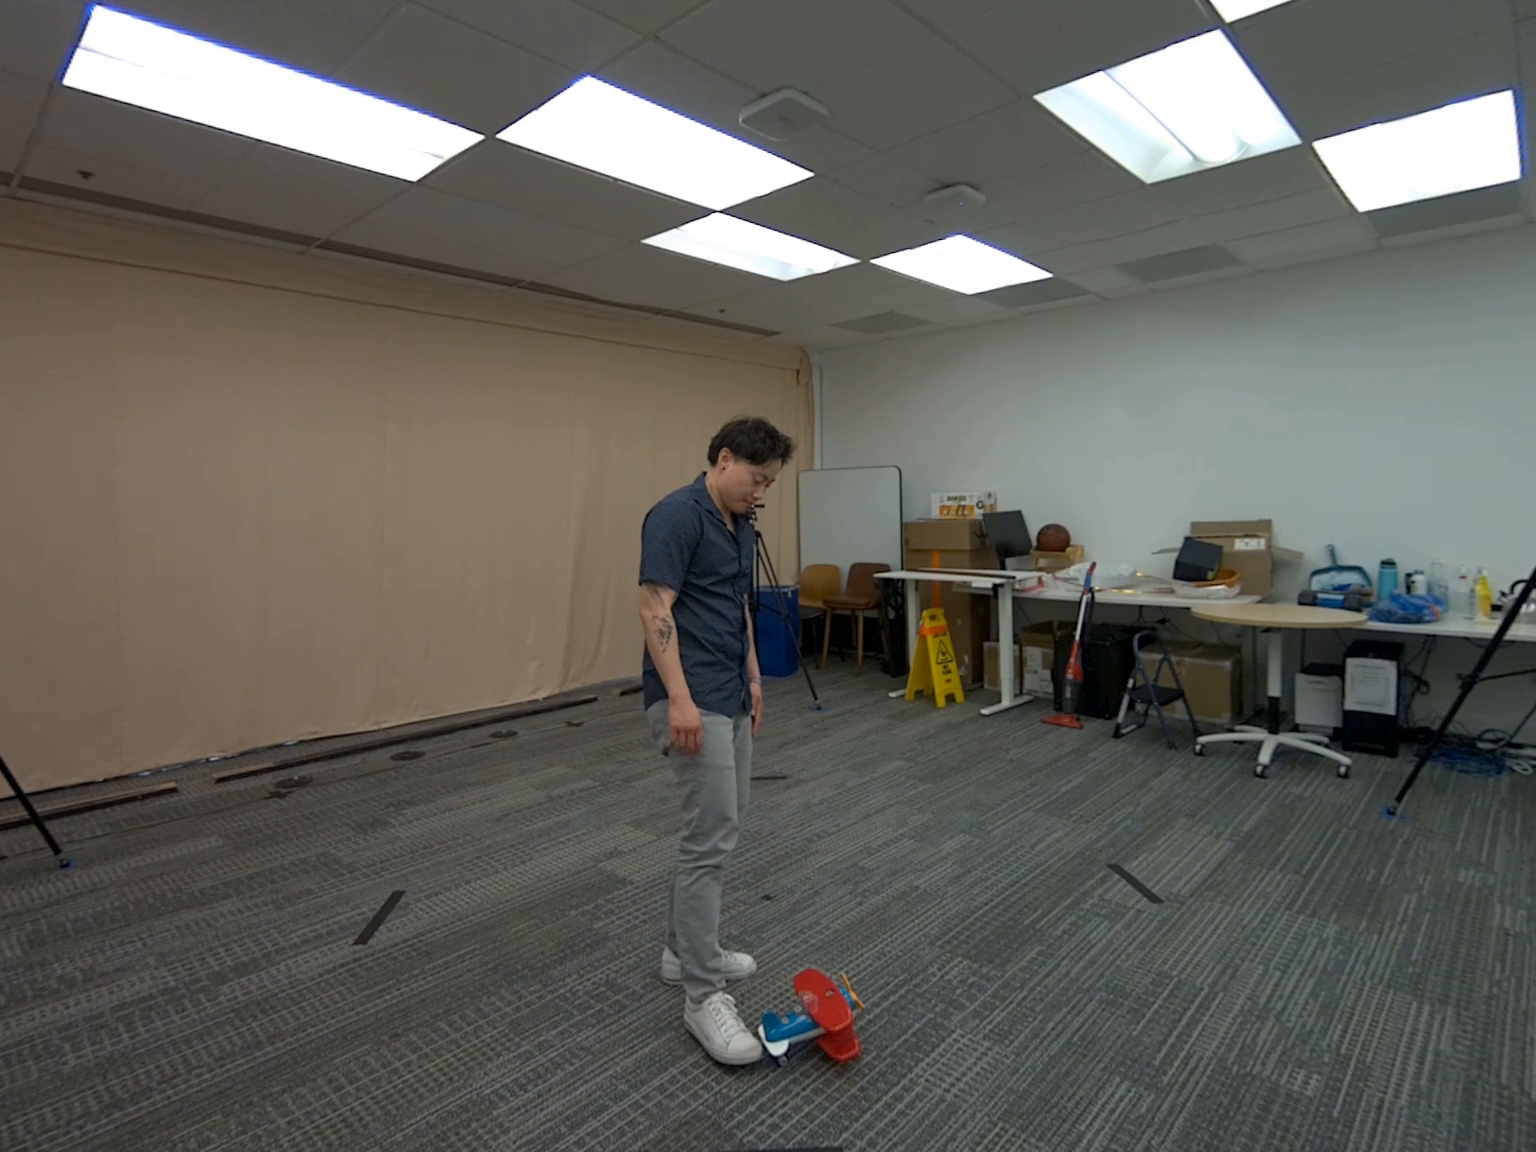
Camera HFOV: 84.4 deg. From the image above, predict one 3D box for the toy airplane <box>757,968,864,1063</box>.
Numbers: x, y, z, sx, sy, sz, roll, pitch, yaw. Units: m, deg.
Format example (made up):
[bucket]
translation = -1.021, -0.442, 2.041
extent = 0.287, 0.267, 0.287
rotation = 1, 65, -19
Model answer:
[toy airplane]
translation = 0.121, 1.143, 2.106
extent = 0.259, 0.156, 0.251
rotation = 5, 6, 45
